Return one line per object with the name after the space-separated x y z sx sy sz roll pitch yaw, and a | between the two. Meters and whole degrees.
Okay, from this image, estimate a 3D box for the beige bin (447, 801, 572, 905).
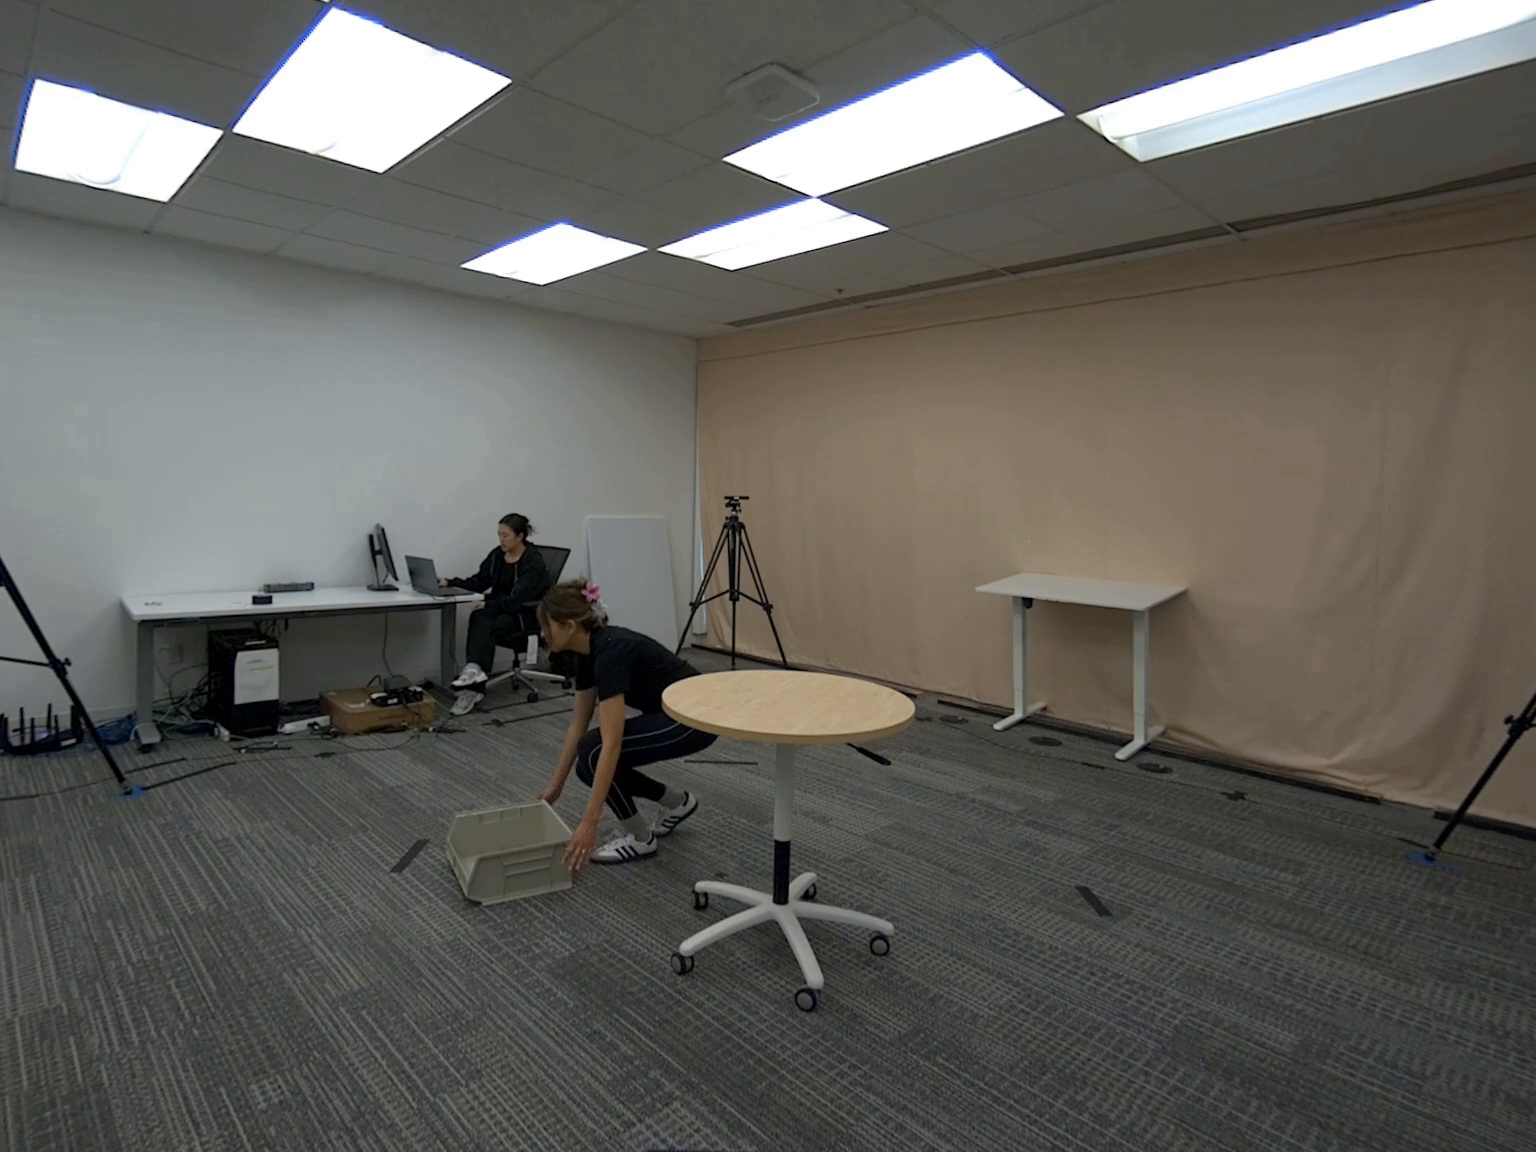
-0.952 1.001 3.061 0.370 0.188 0.432 0 4 -29 | beige bin
